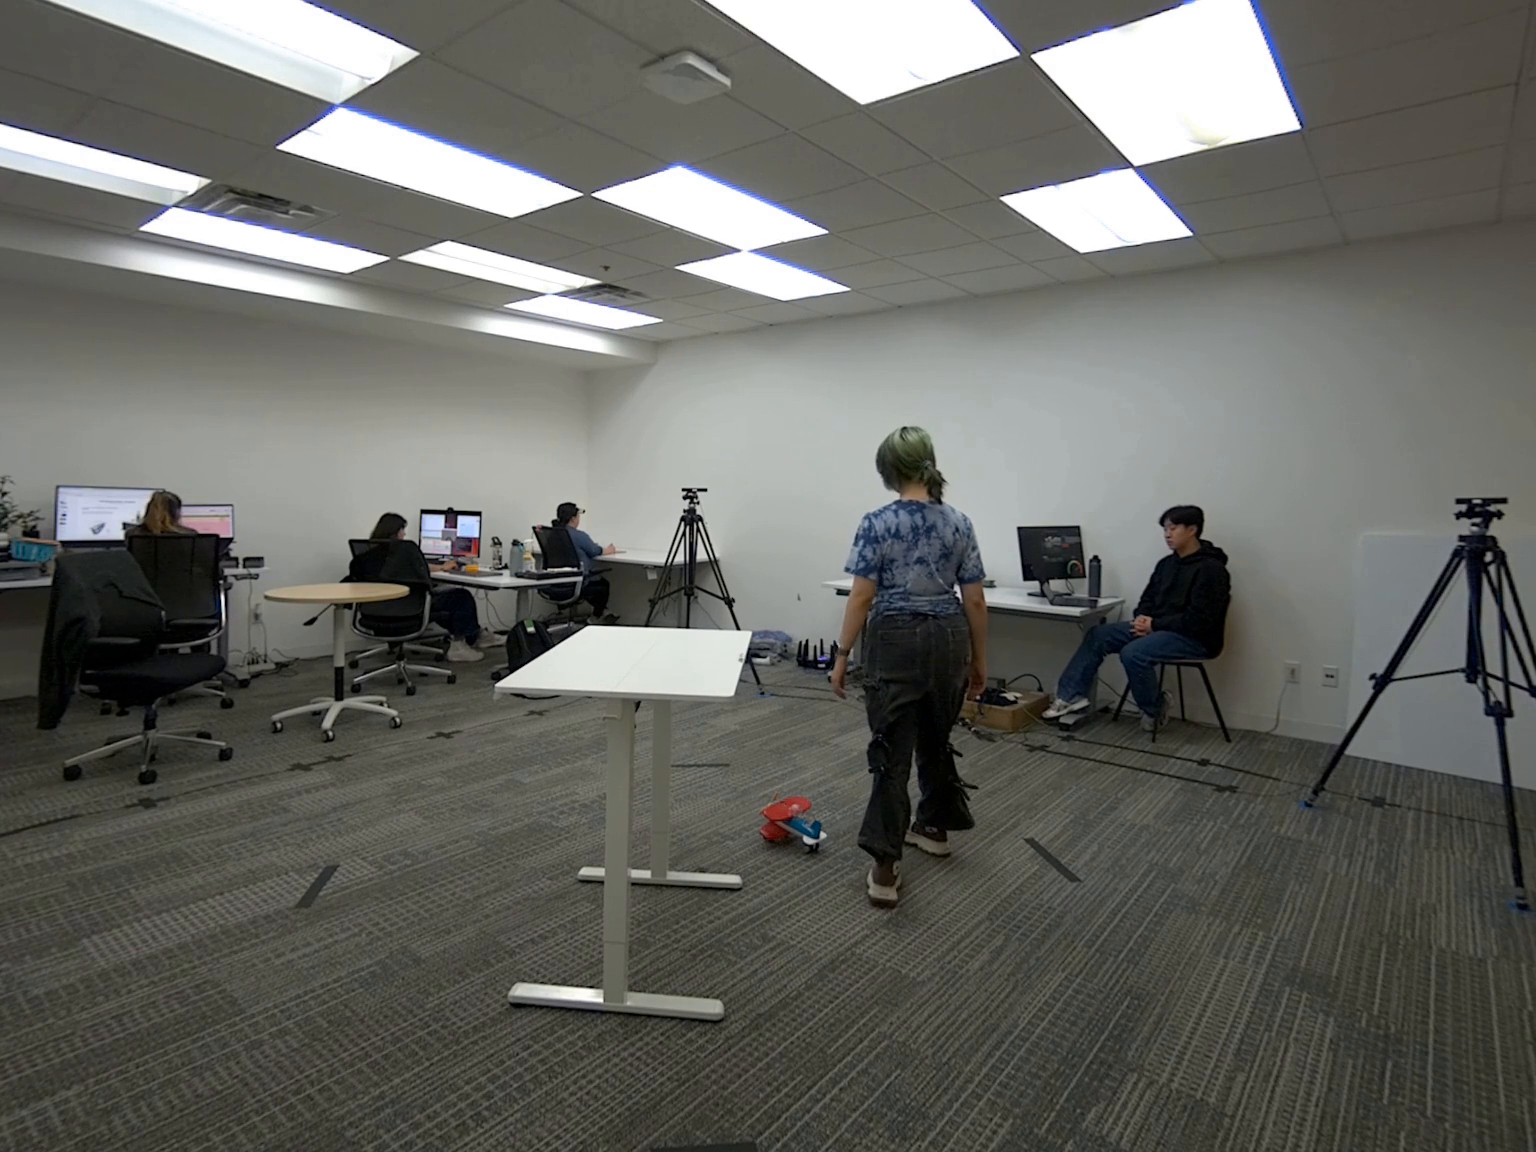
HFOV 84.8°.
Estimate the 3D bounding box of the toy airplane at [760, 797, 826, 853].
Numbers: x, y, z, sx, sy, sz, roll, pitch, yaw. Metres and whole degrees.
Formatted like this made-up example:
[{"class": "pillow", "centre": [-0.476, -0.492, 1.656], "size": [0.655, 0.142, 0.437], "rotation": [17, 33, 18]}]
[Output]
[{"class": "toy airplane", "centre": [0.101, 0.975, 3.357], "size": [0.263, 0.156, 0.248], "rotation": [0, 4, 12]}]
